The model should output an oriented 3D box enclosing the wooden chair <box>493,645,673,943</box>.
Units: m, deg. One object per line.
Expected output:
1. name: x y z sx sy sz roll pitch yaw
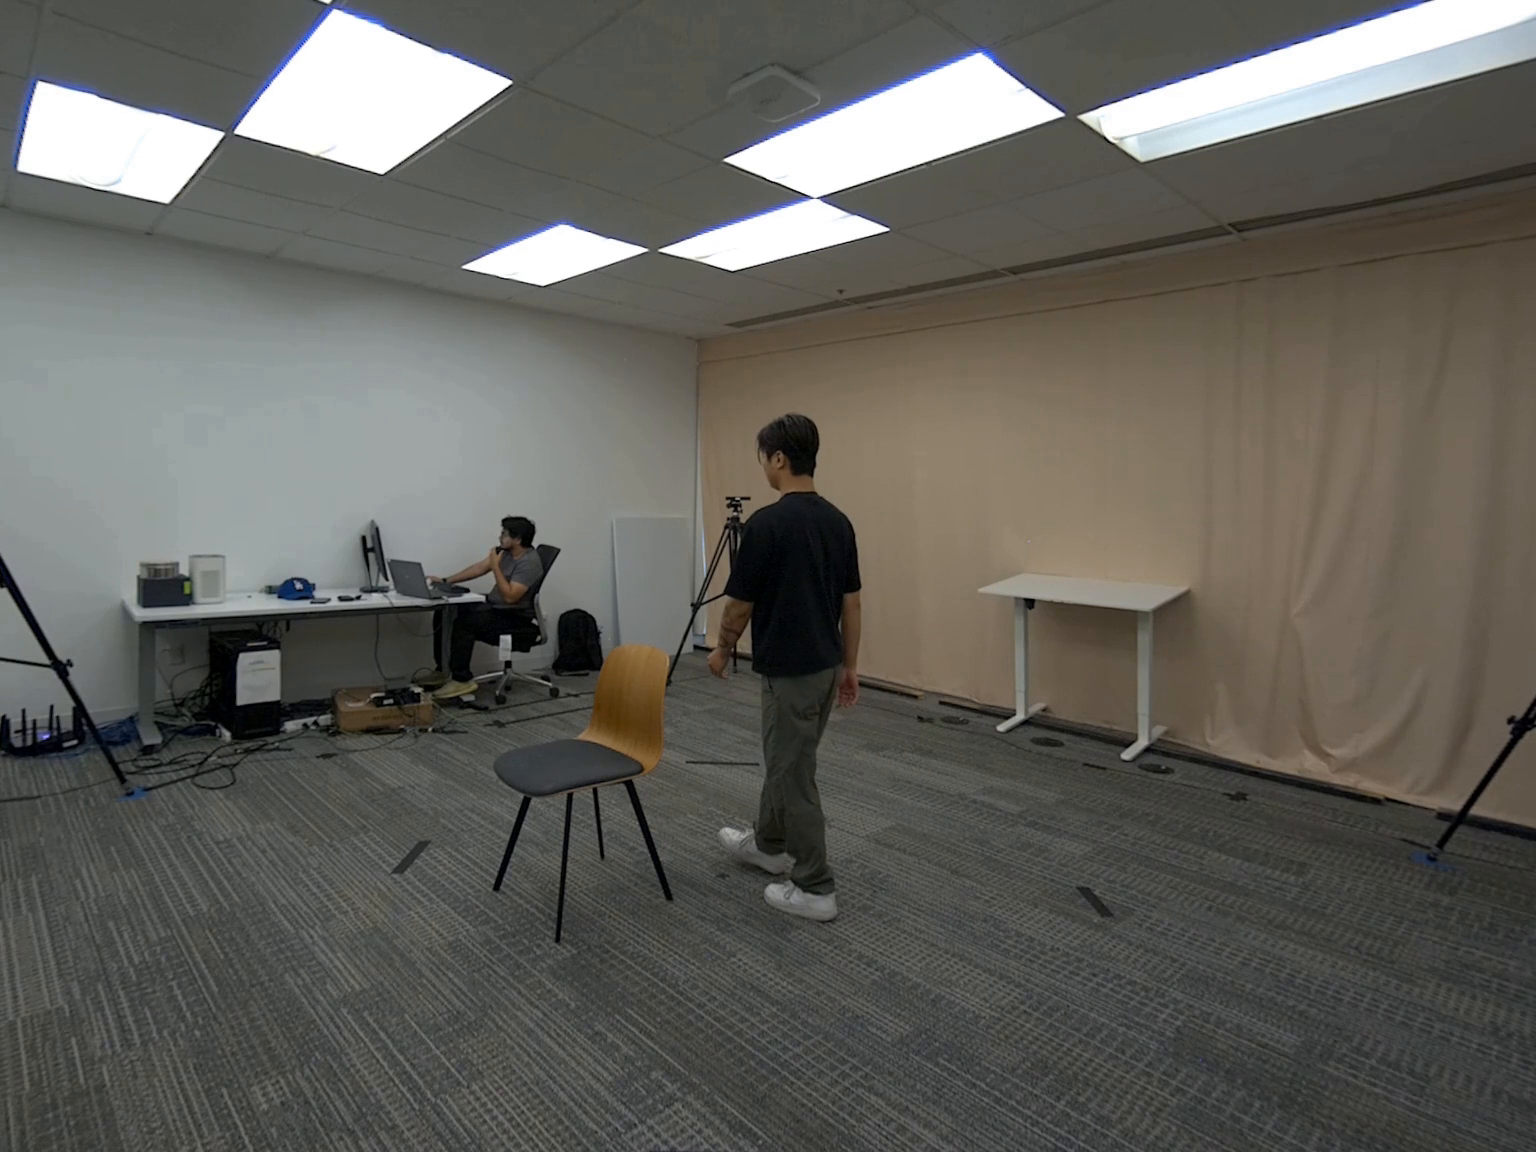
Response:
1. wooden chair: -0.644 0.686 2.894 0.510 0.877 0.490 4 0 -43
